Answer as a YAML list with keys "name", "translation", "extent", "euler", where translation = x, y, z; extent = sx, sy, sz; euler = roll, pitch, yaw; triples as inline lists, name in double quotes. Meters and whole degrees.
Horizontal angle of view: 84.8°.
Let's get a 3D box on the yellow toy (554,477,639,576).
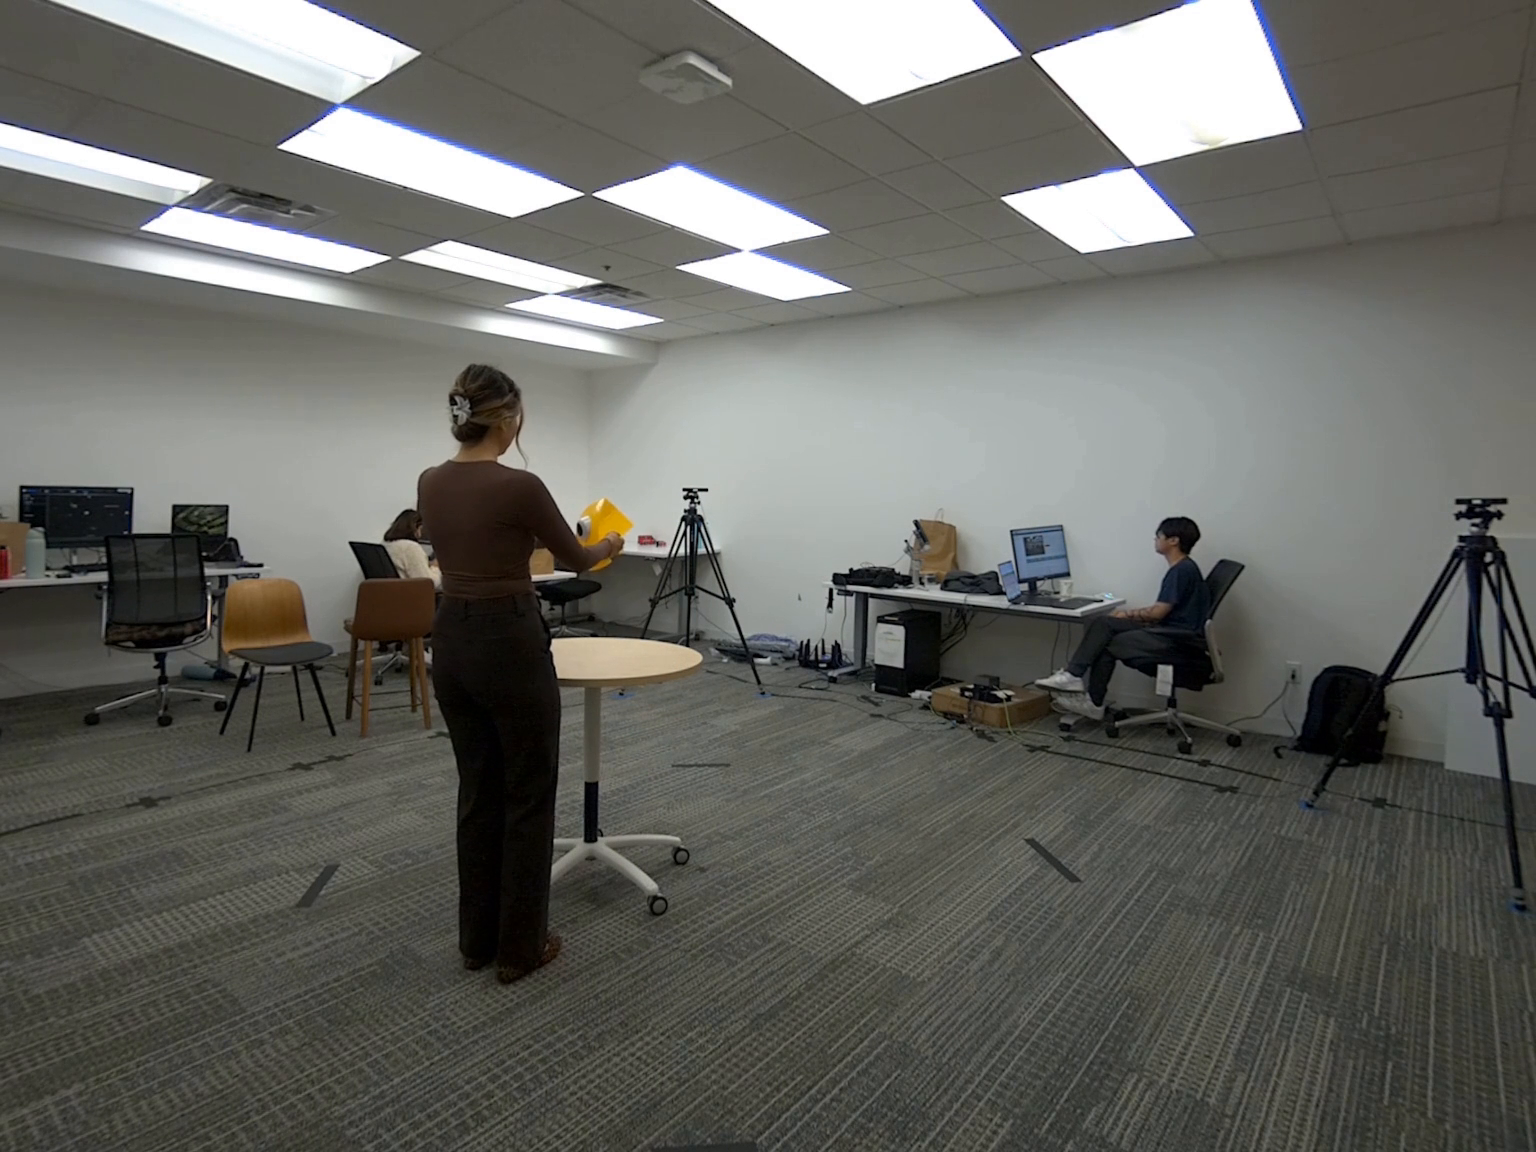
- name: "yellow toy"
  translation: [-0.591, -0.174, 2.867]
  extent: [0.199, 0.225, 0.204]
  euler: [14, 35, 24]
